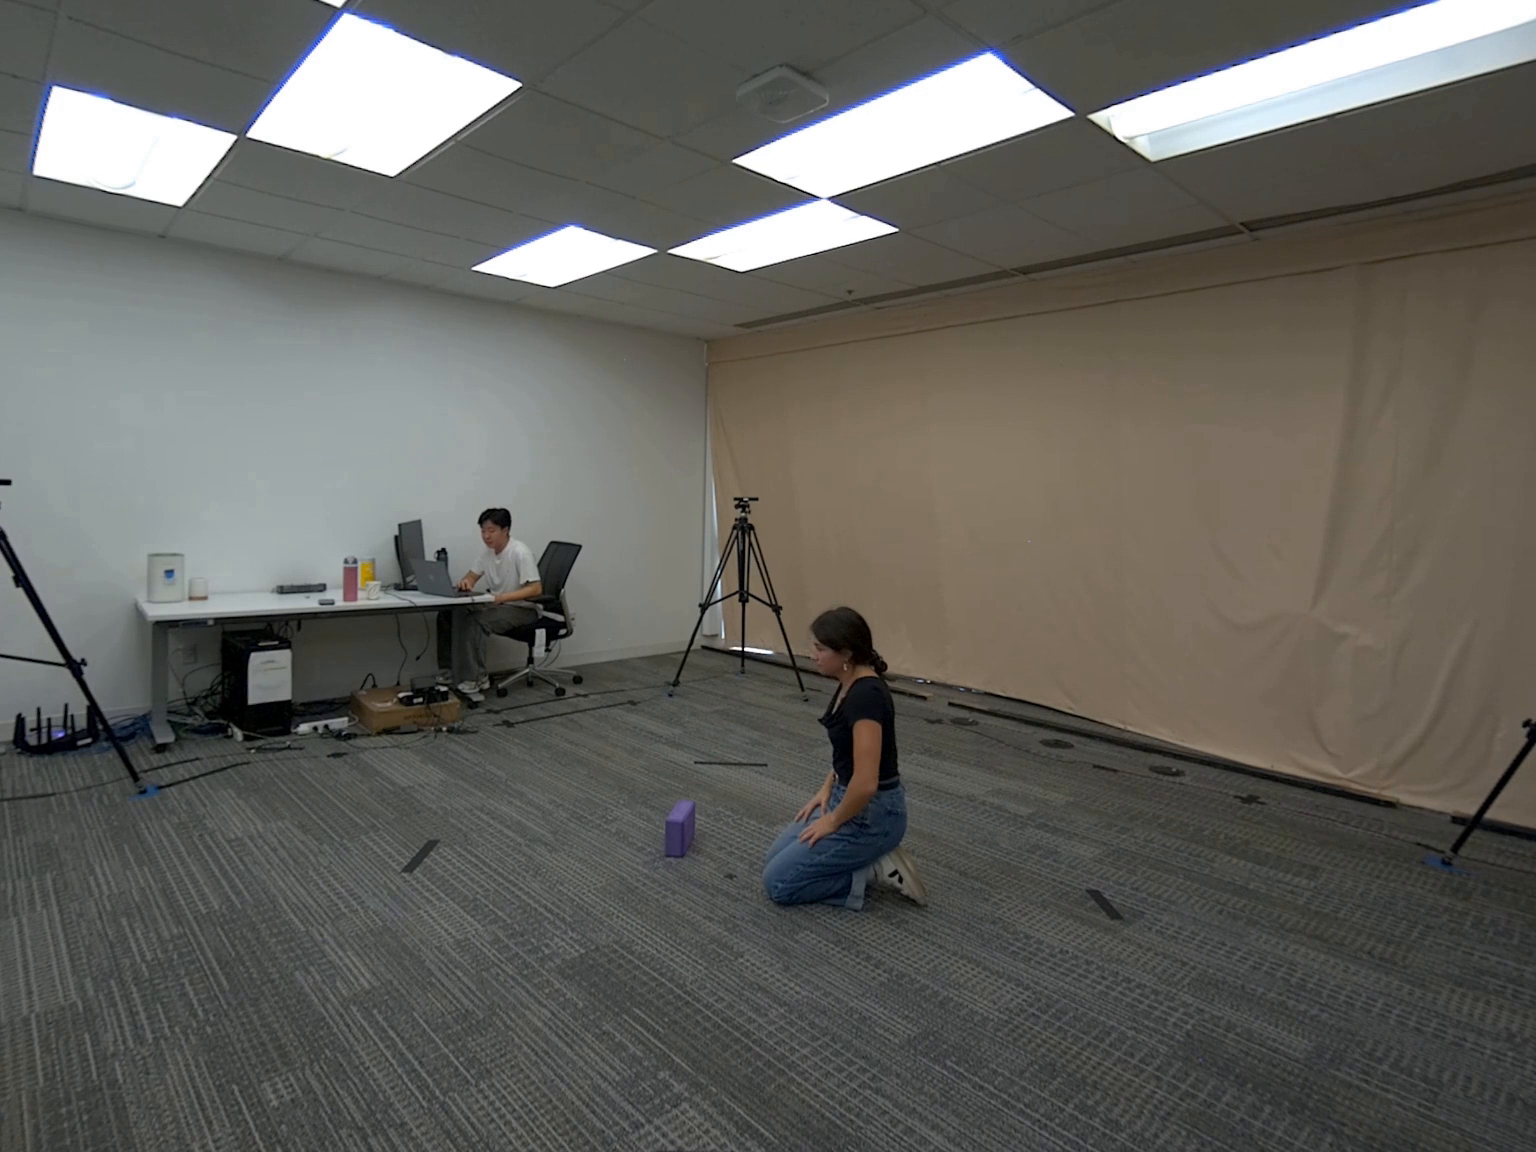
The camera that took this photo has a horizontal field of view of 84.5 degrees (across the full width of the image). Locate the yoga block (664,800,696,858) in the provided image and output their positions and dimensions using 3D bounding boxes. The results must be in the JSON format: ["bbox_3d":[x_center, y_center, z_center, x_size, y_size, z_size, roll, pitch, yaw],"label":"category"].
[{"bbox_3d":[-0.356,1.006,3.354,0.077,0.148,0.228,2,5,7],"label":"yoga block"}]
